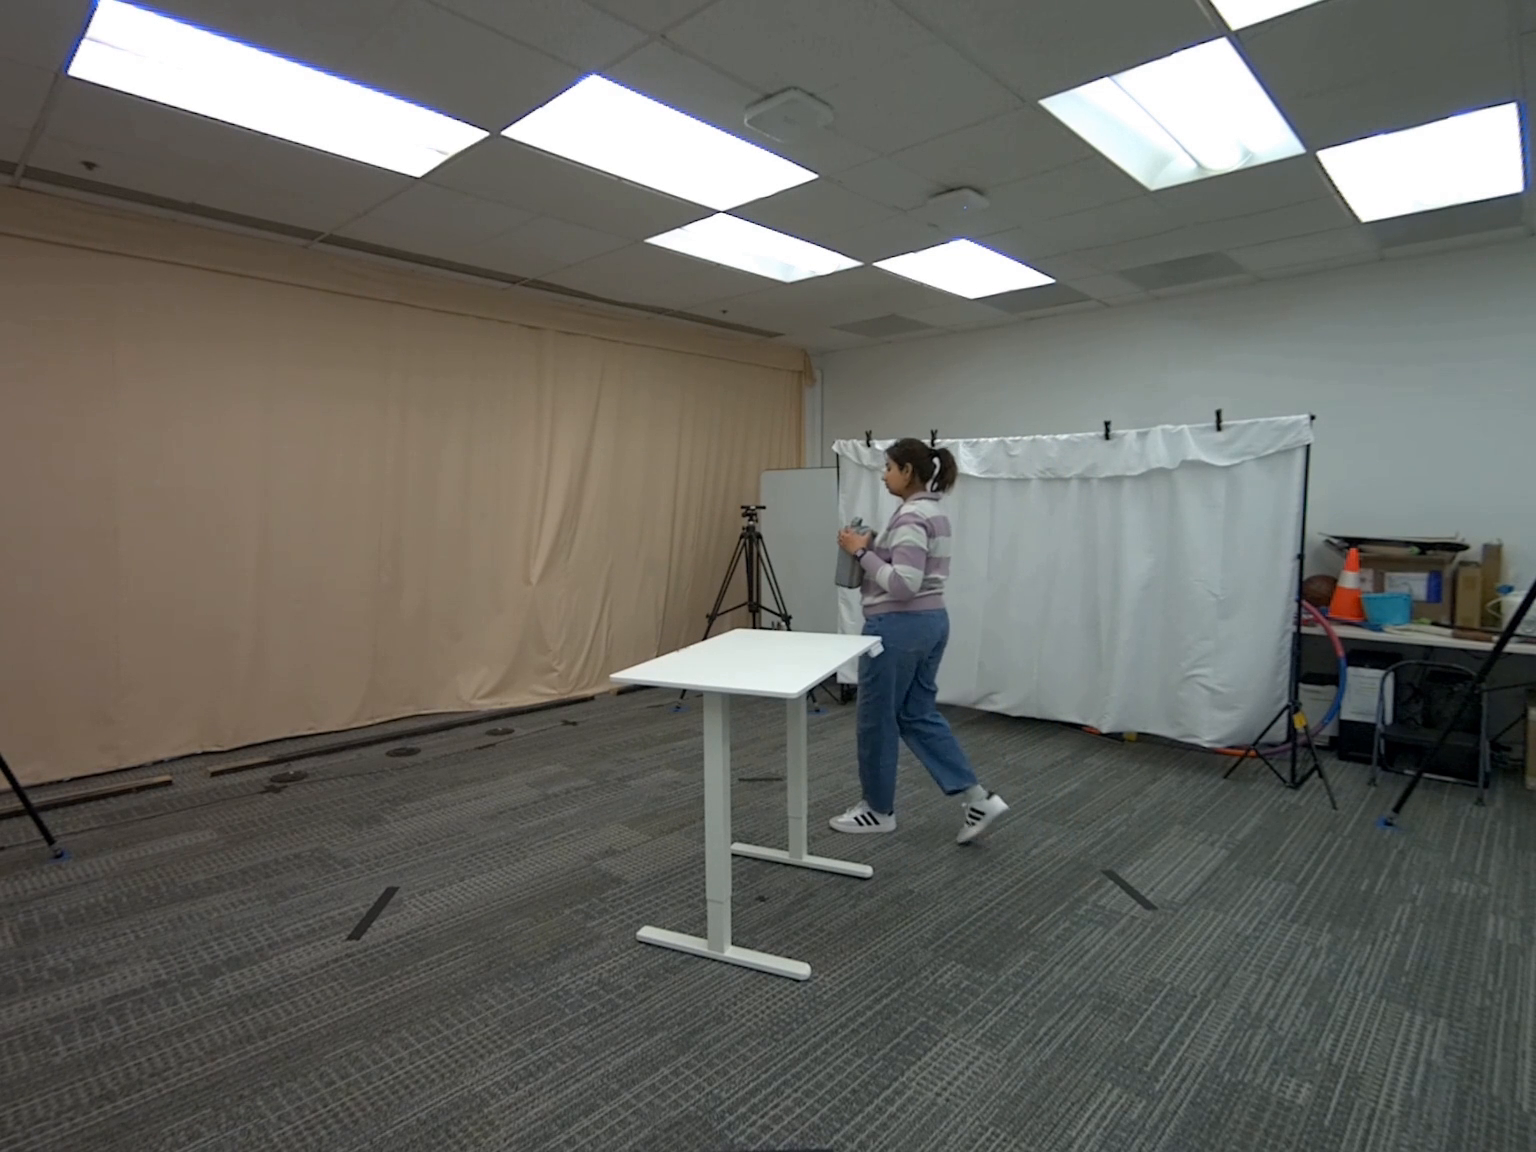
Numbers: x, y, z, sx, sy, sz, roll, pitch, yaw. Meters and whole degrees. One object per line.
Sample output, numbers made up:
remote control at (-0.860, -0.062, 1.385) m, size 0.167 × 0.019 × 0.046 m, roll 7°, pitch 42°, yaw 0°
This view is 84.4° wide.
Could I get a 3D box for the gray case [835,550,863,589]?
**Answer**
gray case at (0.383, -0.080, 3.592) m, size 0.106 × 0.259 × 0.253 m, roll 7°, pitch 8°, yaw 17°
